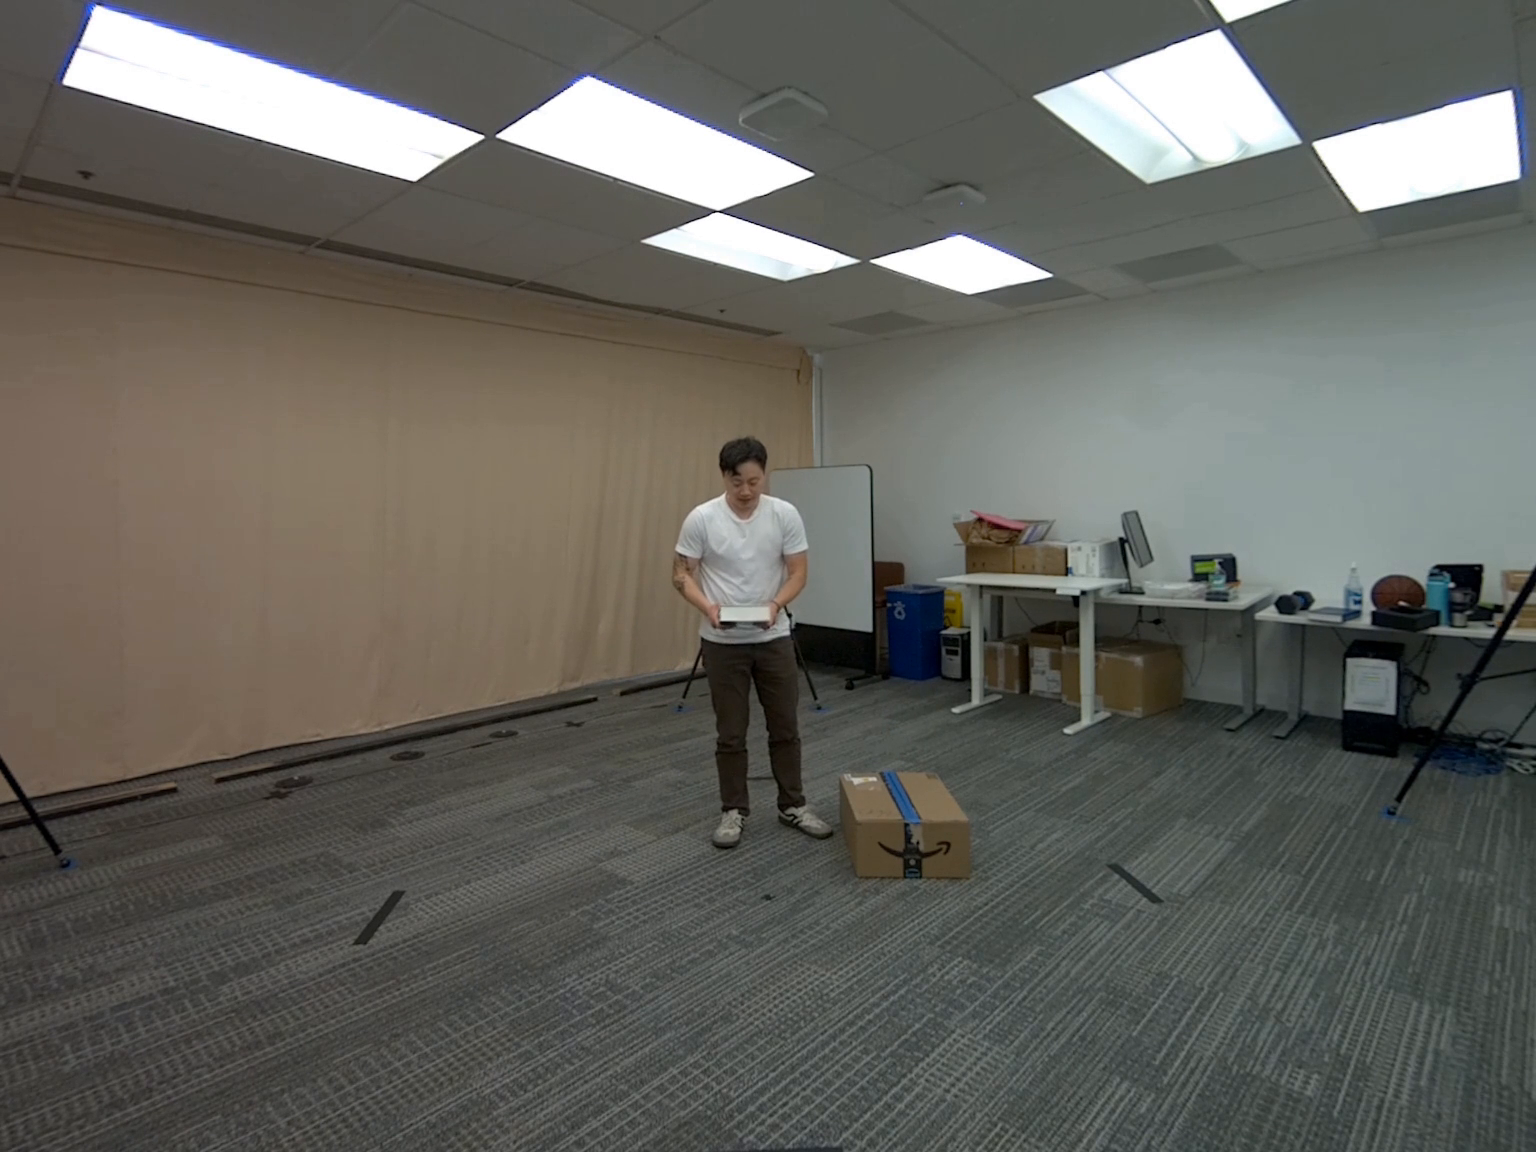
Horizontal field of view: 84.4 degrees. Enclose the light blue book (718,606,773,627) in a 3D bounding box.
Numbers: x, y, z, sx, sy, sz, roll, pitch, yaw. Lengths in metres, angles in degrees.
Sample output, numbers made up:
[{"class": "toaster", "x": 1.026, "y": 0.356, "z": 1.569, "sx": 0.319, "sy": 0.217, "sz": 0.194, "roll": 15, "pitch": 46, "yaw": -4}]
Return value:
[{"class": "light blue book", "x": -0.091, "y": 0.145, "z": 3.206, "sx": 0.192, "sy": 0.059, "sz": 0.258, "roll": -1, "pitch": -6, "yaw": 3}]
